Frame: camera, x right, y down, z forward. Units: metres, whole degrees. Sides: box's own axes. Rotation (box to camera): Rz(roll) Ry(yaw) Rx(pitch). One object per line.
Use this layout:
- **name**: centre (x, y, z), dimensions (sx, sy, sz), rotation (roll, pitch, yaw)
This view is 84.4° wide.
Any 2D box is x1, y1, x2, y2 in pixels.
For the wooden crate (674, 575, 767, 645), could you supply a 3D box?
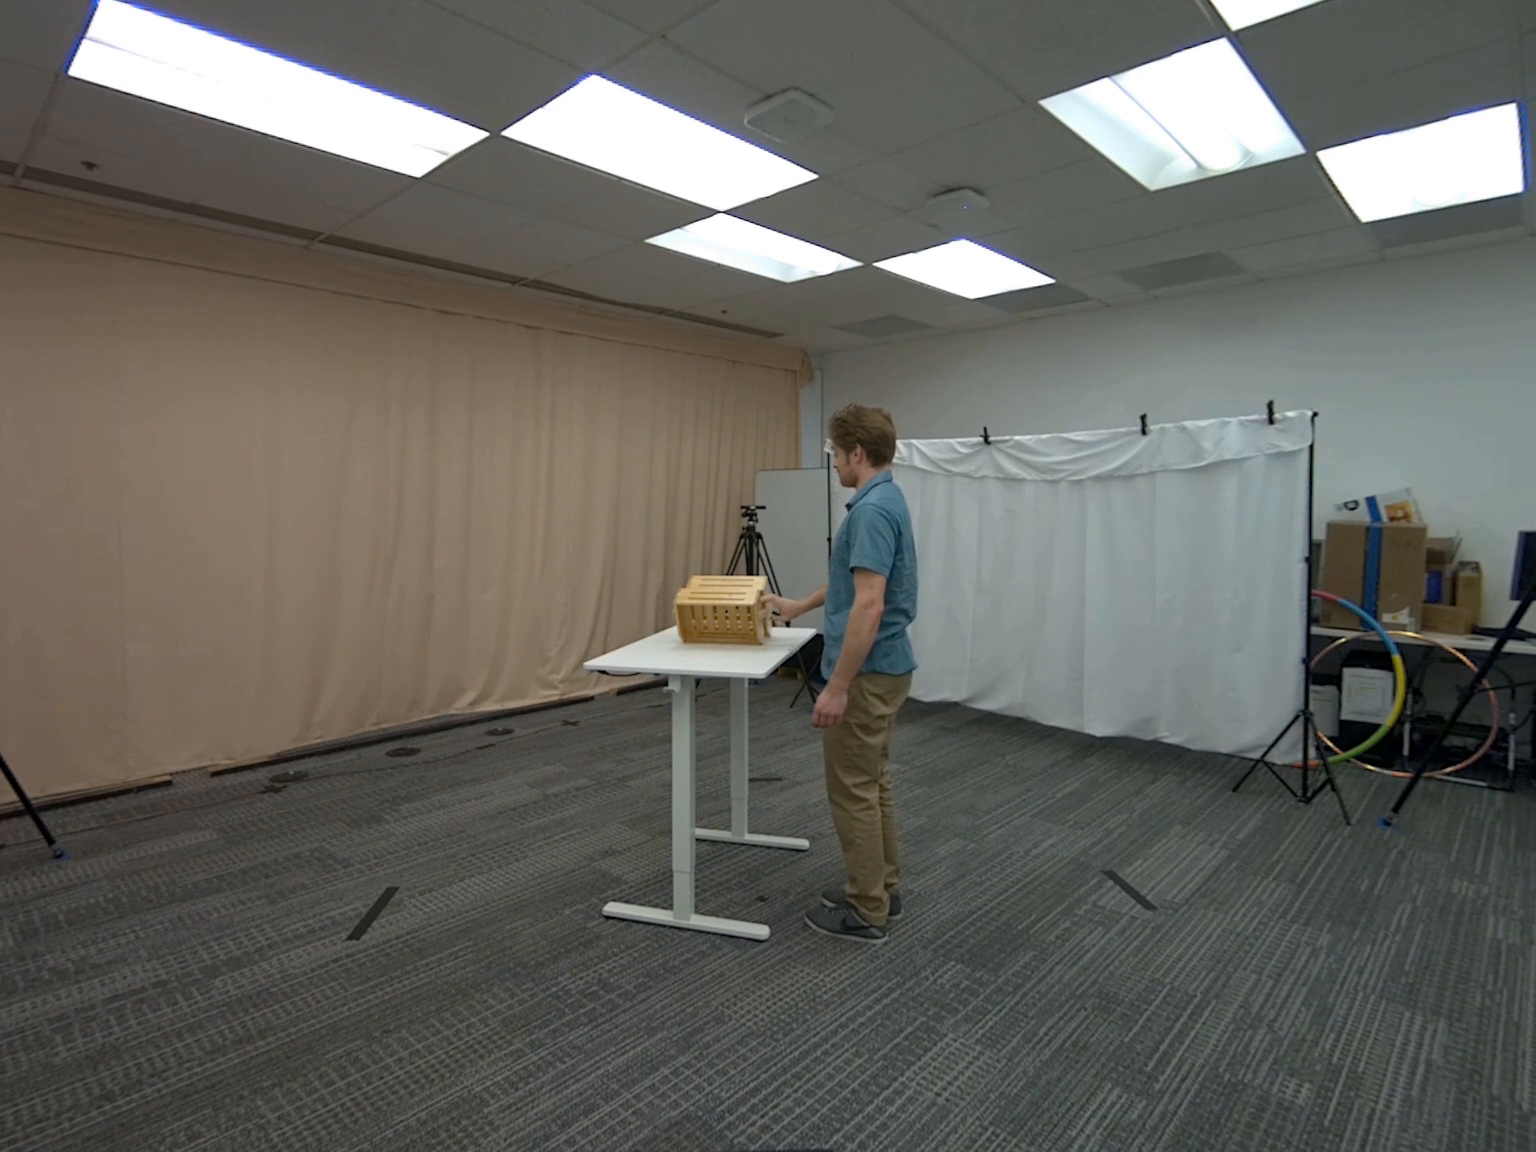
- **wooden crate**: centre (-0.163, 0.154, 3.156), dimensions (0.329, 0.296, 0.275), rotation (1, 30, 11)
